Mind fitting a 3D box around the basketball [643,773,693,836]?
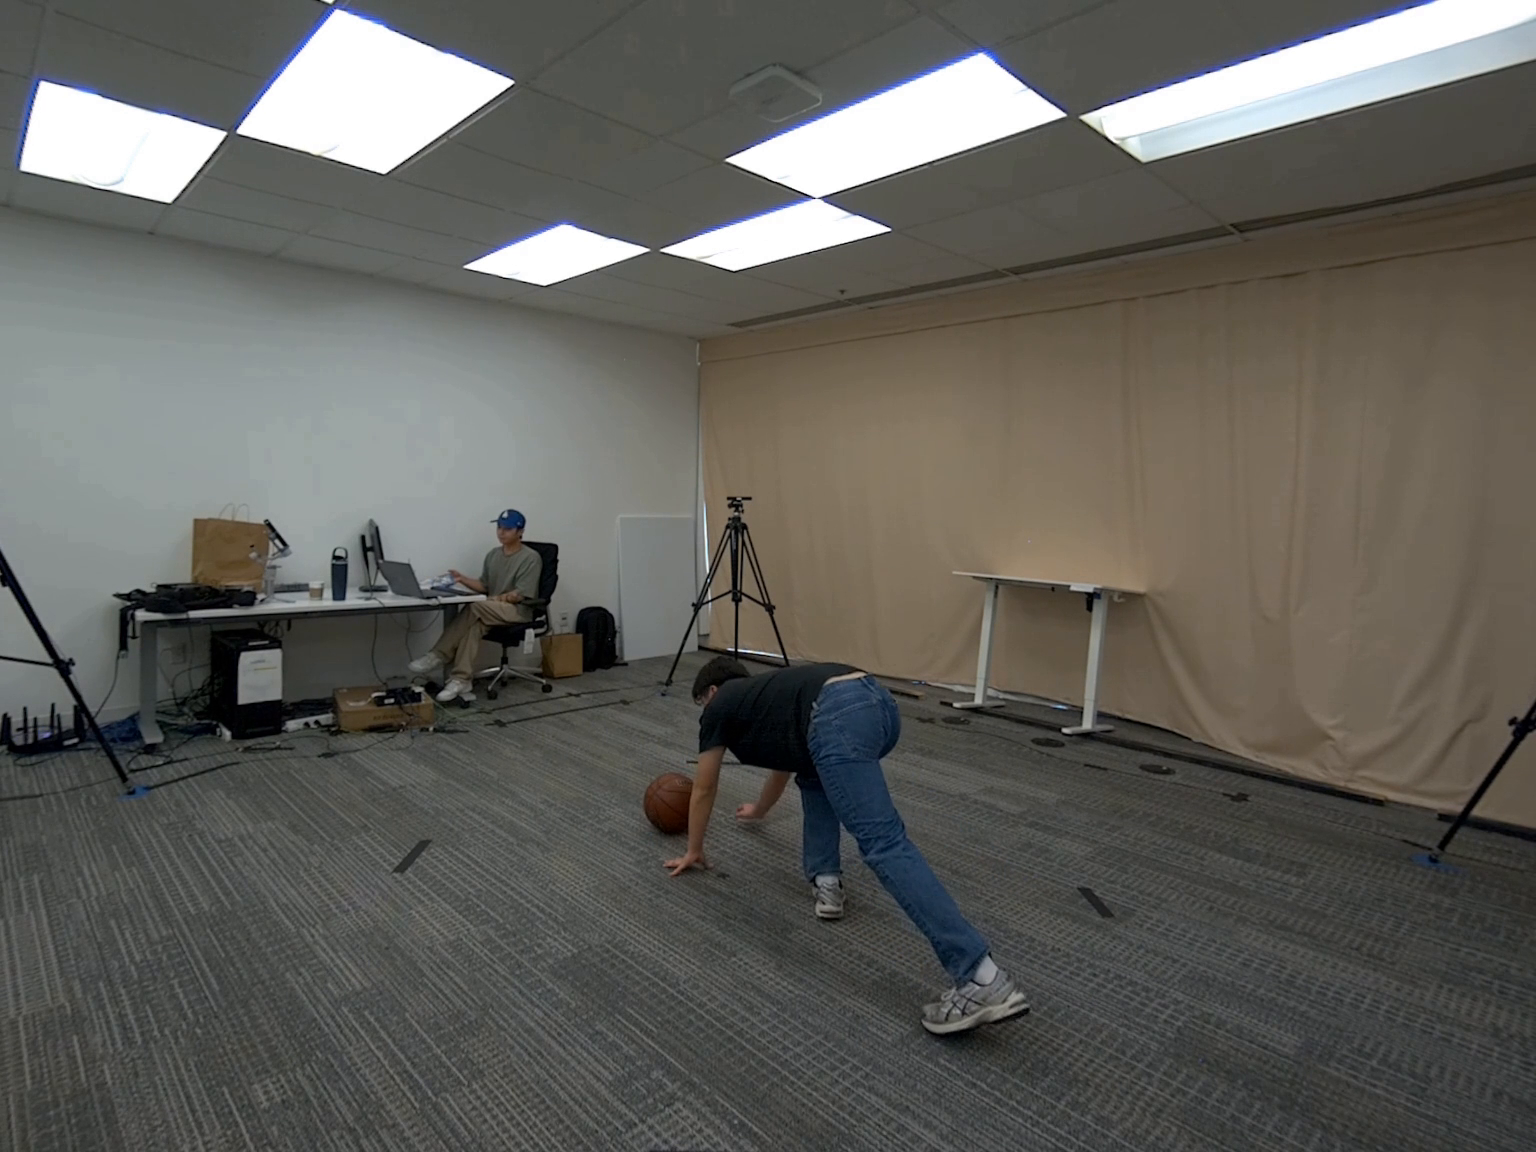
[{"bbox_3d":[-0.407,0.938,3.517,0.236,0.235,0.237,1,4,-1],"label":"basketball"}]
